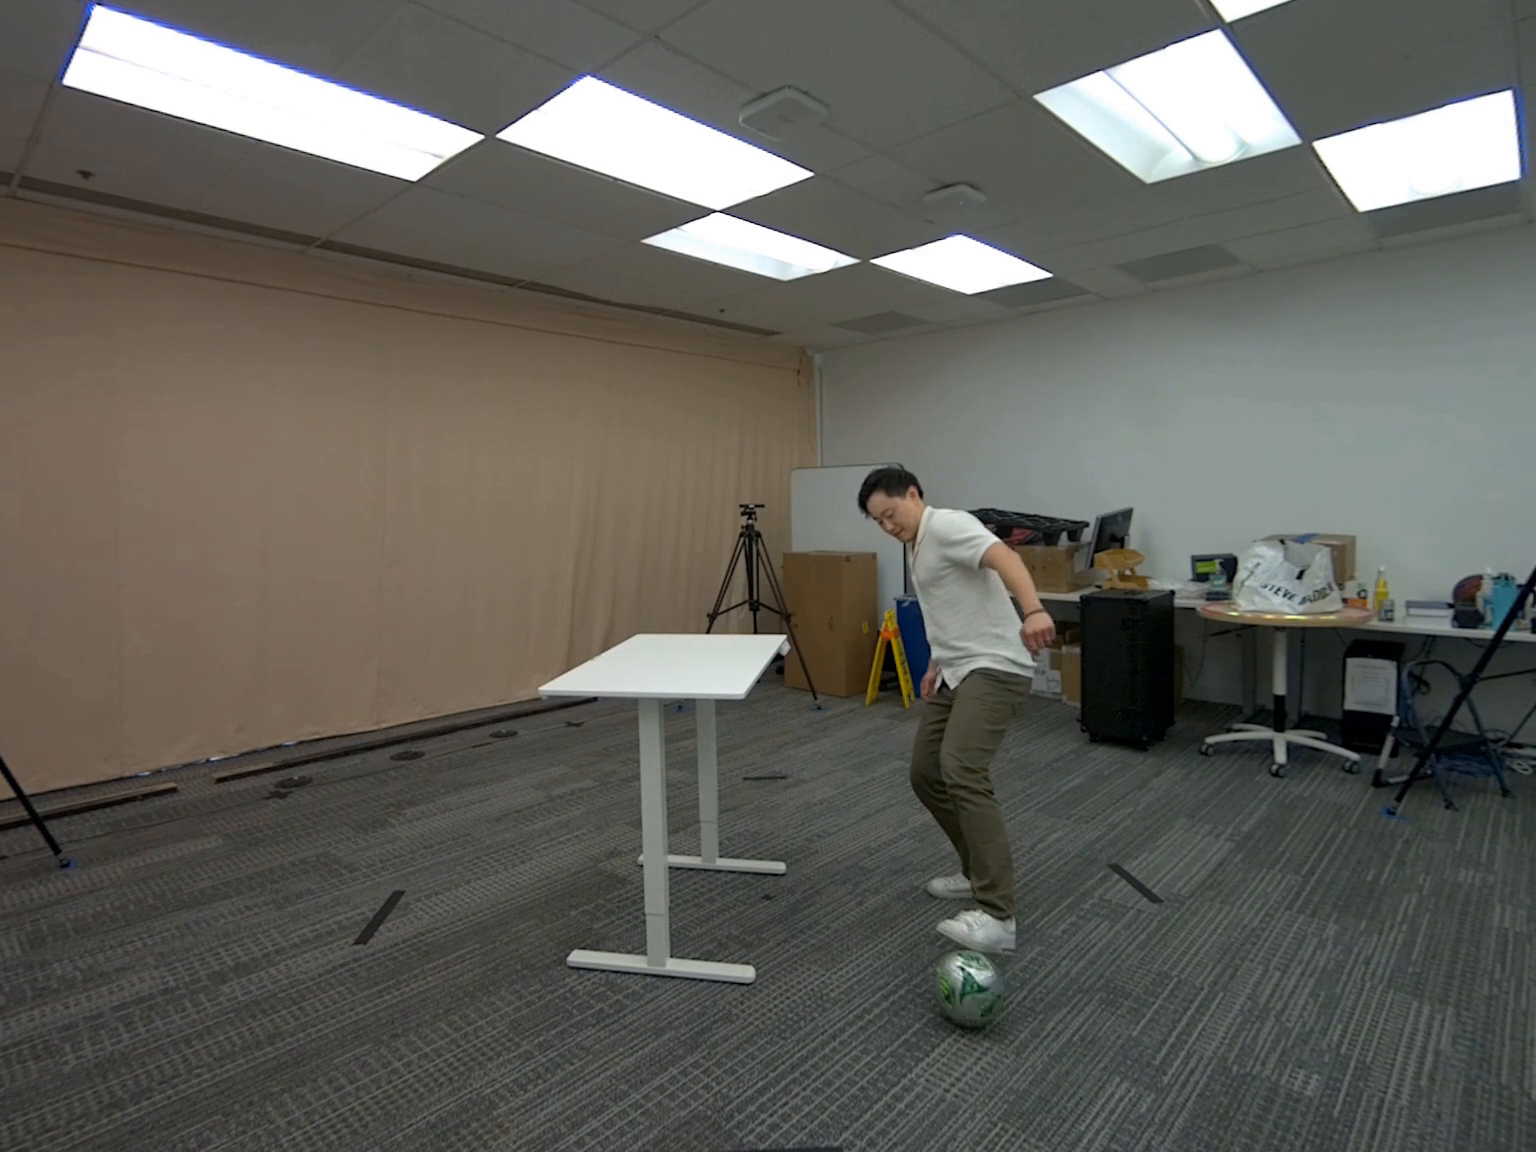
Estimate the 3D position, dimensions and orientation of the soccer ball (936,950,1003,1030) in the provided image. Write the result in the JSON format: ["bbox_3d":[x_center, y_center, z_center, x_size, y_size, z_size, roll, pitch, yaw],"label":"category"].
[{"bbox_3d":[0.541,1.102,2.253,0.187,0.187,0.188,-1,4,-2],"label":"soccer ball"}]
